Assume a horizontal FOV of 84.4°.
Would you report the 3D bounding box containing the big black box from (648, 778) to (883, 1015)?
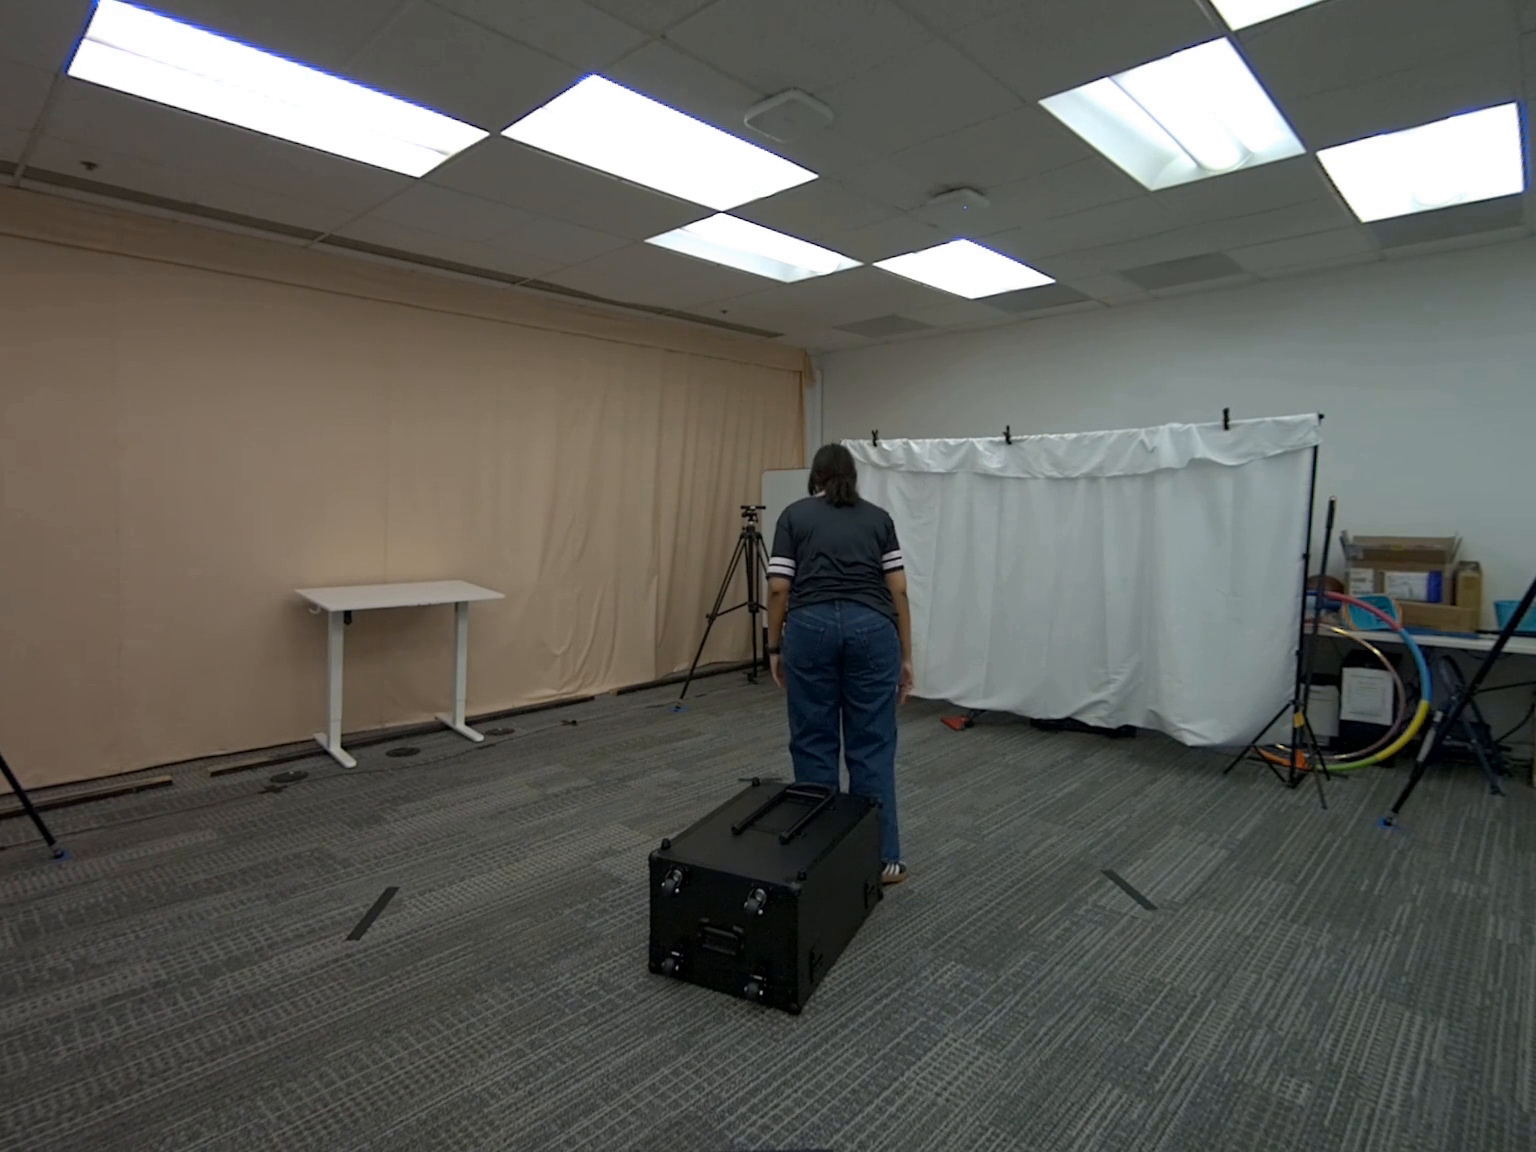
[{"bbox_3d":[0.017,0.982,2.699,0.537,0.384,0.848,3,6,25],"label":"big black box"}]
